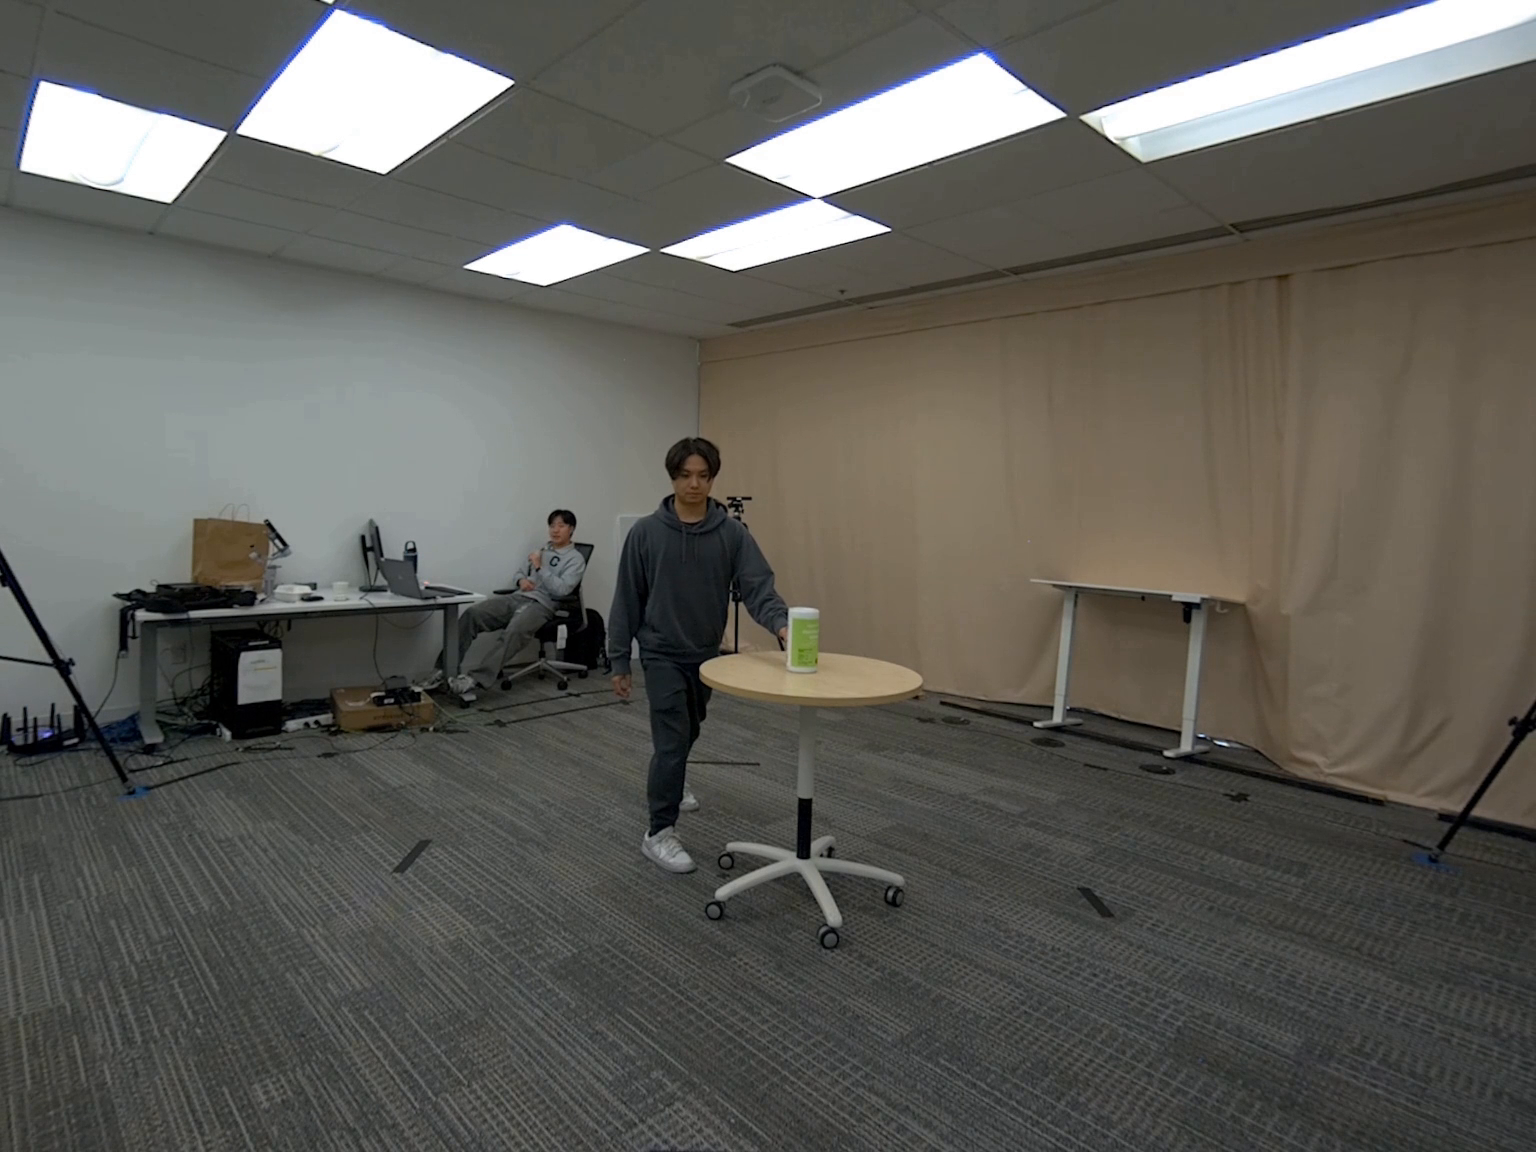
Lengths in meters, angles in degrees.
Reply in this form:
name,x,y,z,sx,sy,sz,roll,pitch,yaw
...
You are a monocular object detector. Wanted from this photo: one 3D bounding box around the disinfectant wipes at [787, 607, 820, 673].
name,x,y,z,sx,sy,sz,roll,pitch,yaw
disinfectant wipes,0.115,0.223,2.931,0.118,0.217,0.118,4,4,-2
